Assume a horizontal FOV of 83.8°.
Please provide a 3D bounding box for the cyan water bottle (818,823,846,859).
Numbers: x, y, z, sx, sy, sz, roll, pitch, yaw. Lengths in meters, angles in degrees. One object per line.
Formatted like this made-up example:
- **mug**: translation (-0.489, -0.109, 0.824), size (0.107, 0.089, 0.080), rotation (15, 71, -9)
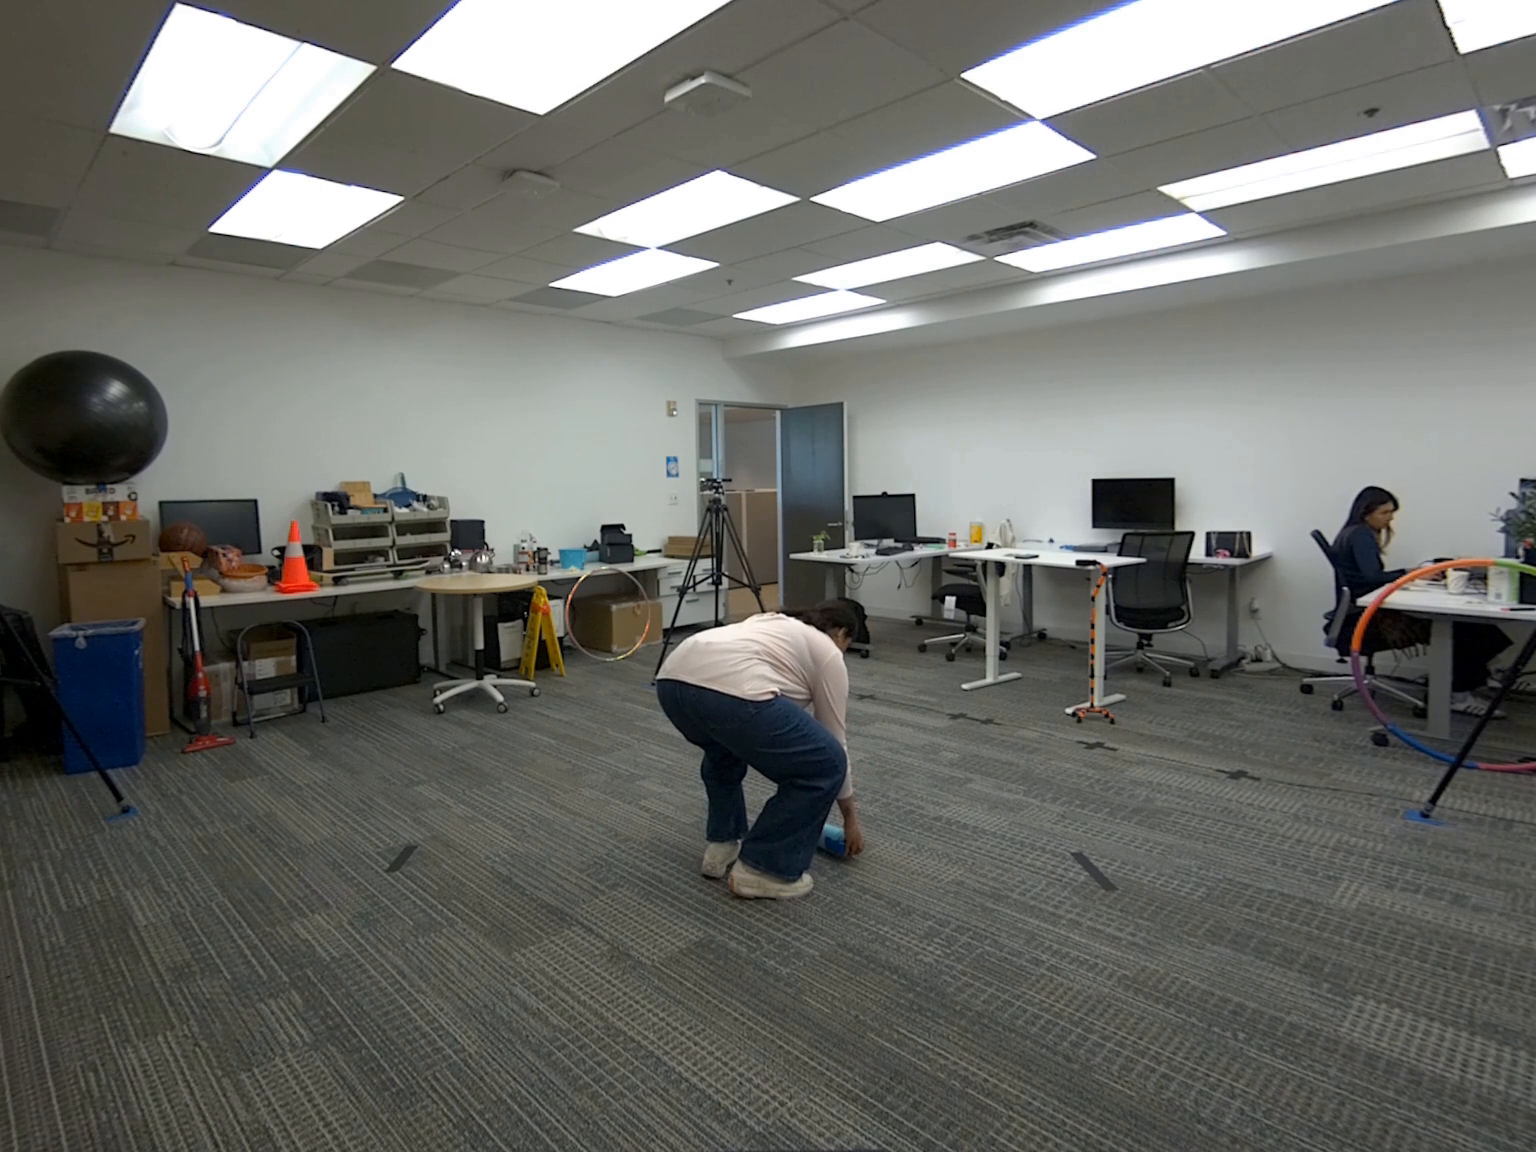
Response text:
- **cyan water bottle**: translation (0.213, 0.972, 3.193), size (0.292, 0.092, 0.090), rotation (7, 9, 43)
